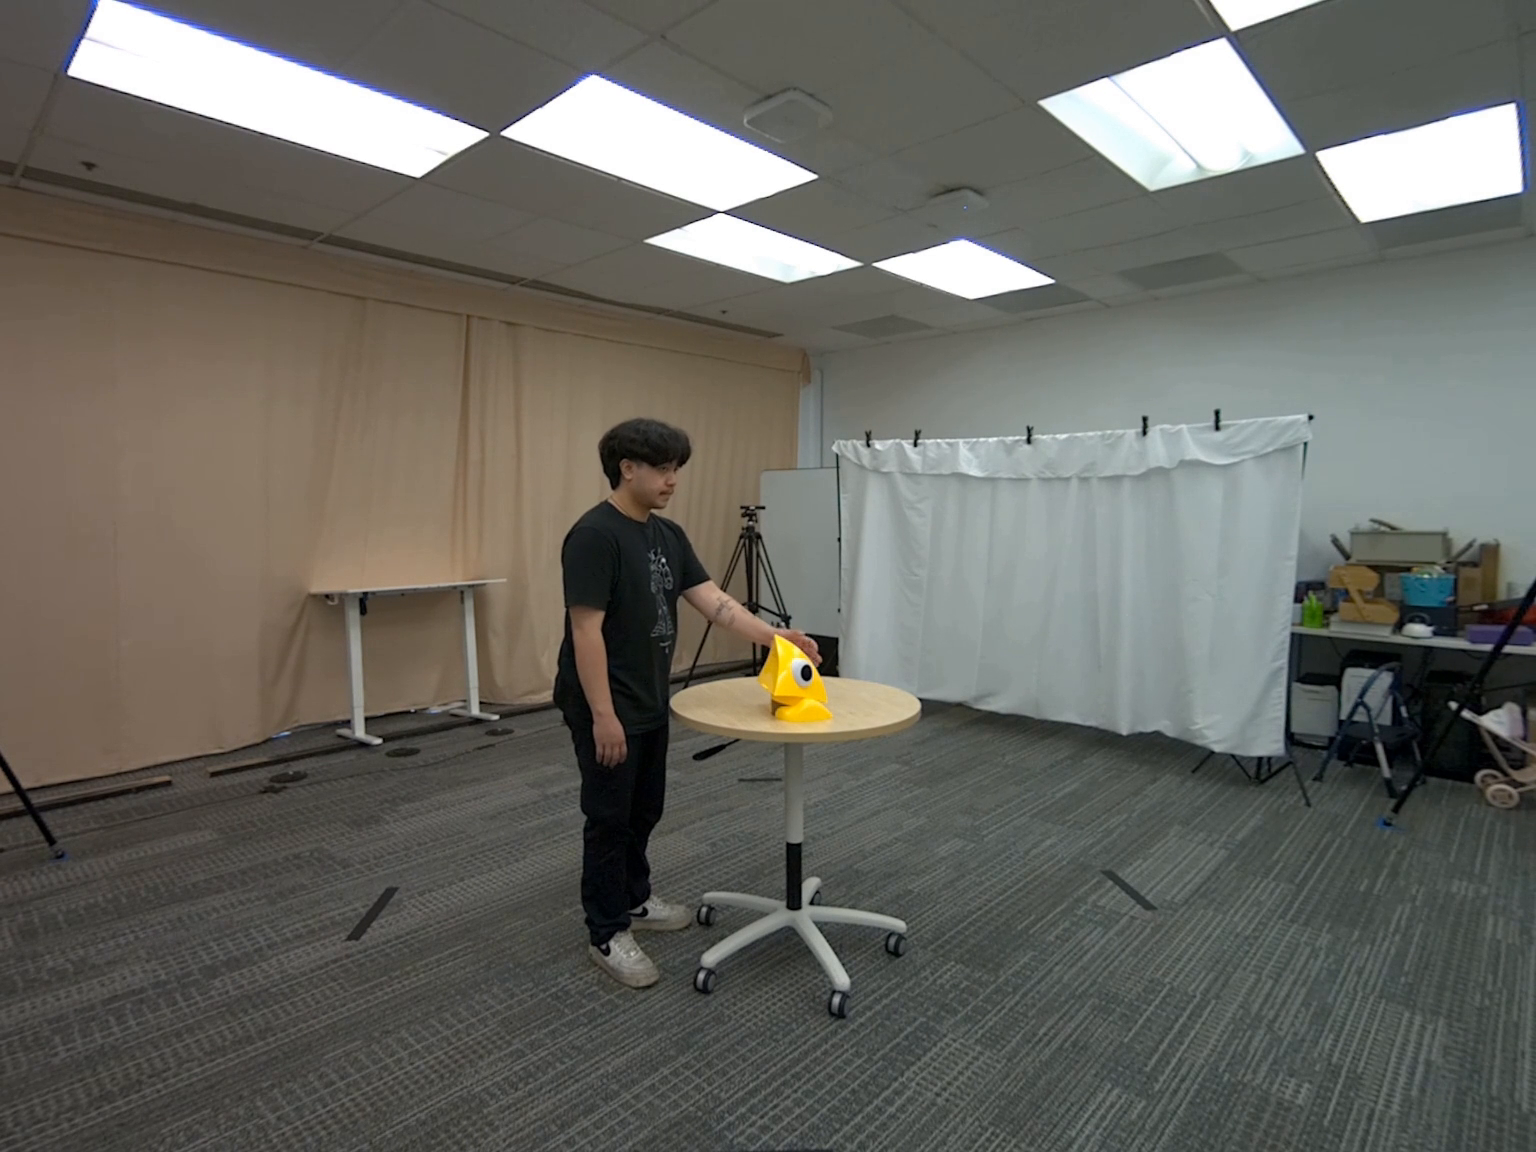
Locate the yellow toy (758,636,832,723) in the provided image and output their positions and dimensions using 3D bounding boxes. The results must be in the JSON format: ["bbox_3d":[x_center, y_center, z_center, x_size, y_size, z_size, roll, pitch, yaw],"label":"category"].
[{"bbox_3d":[0.082,0.284,2.416,0.190,0.230,0.208,-1,3,-13],"label":"yellow toy"}]
